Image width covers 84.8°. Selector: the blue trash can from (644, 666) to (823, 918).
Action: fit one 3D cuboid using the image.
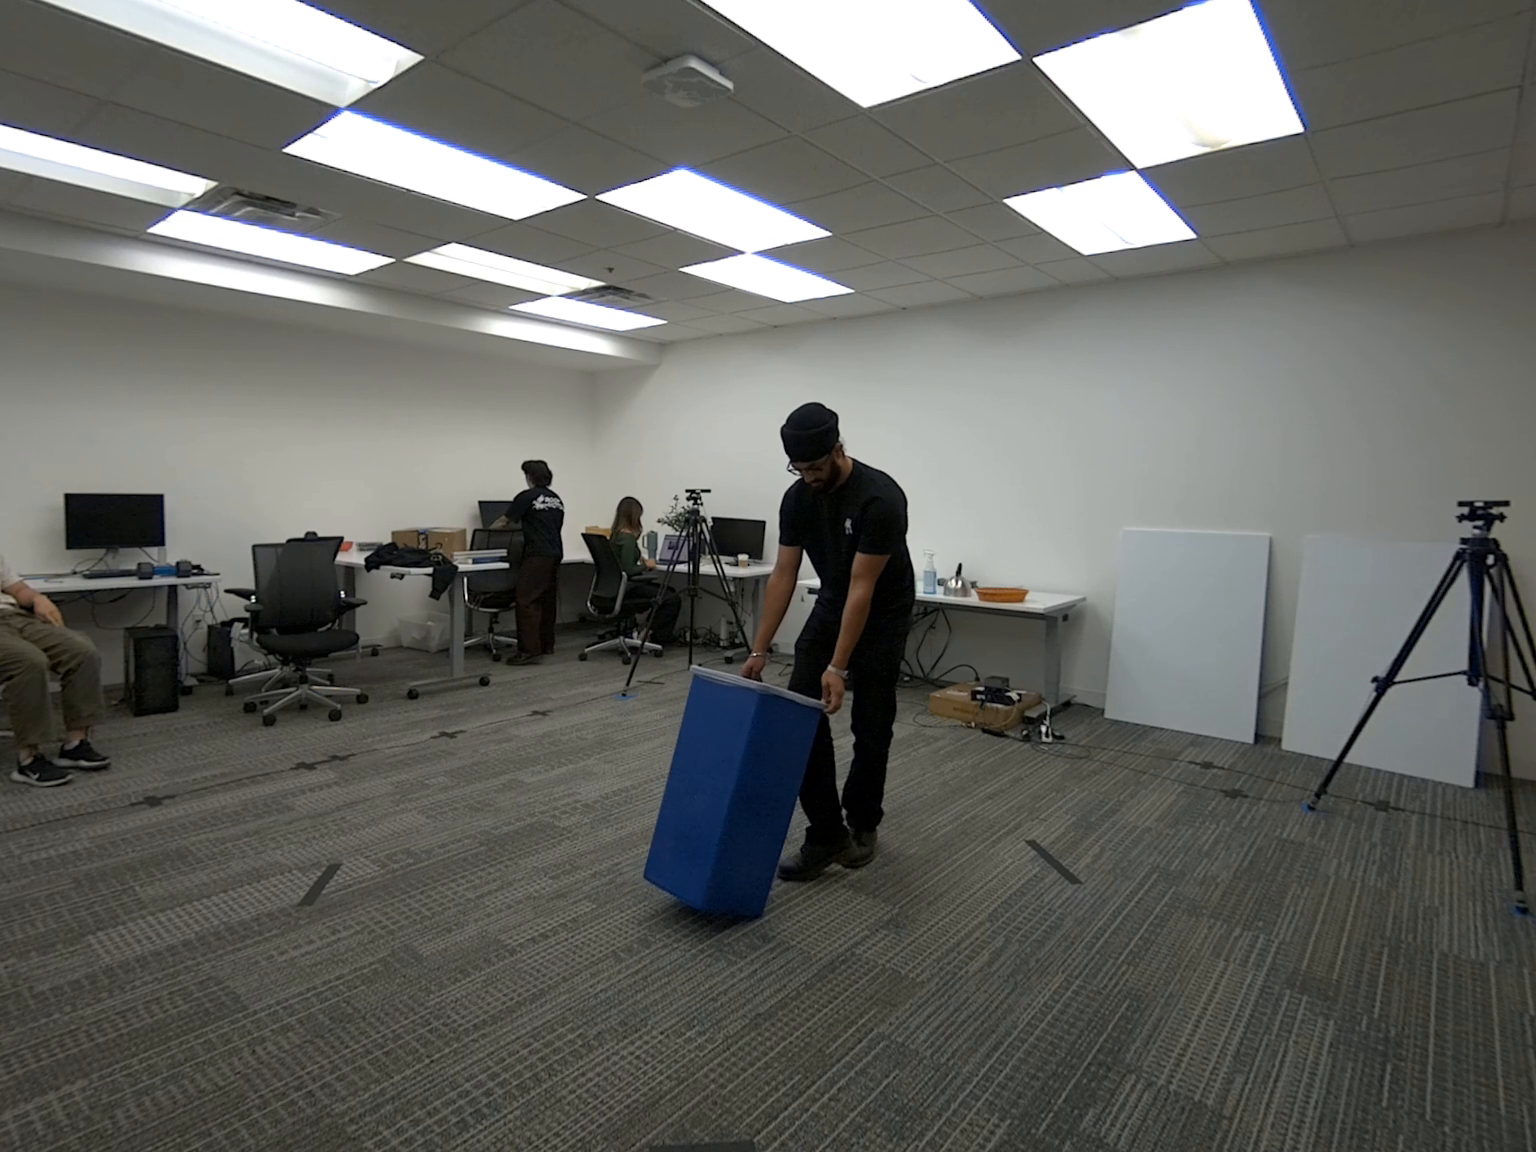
[{"bbox_3d":[-0.128,0.713,2.871,0.391,0.718,0.359,5,-15,45],"label":"blue trash can"}]
